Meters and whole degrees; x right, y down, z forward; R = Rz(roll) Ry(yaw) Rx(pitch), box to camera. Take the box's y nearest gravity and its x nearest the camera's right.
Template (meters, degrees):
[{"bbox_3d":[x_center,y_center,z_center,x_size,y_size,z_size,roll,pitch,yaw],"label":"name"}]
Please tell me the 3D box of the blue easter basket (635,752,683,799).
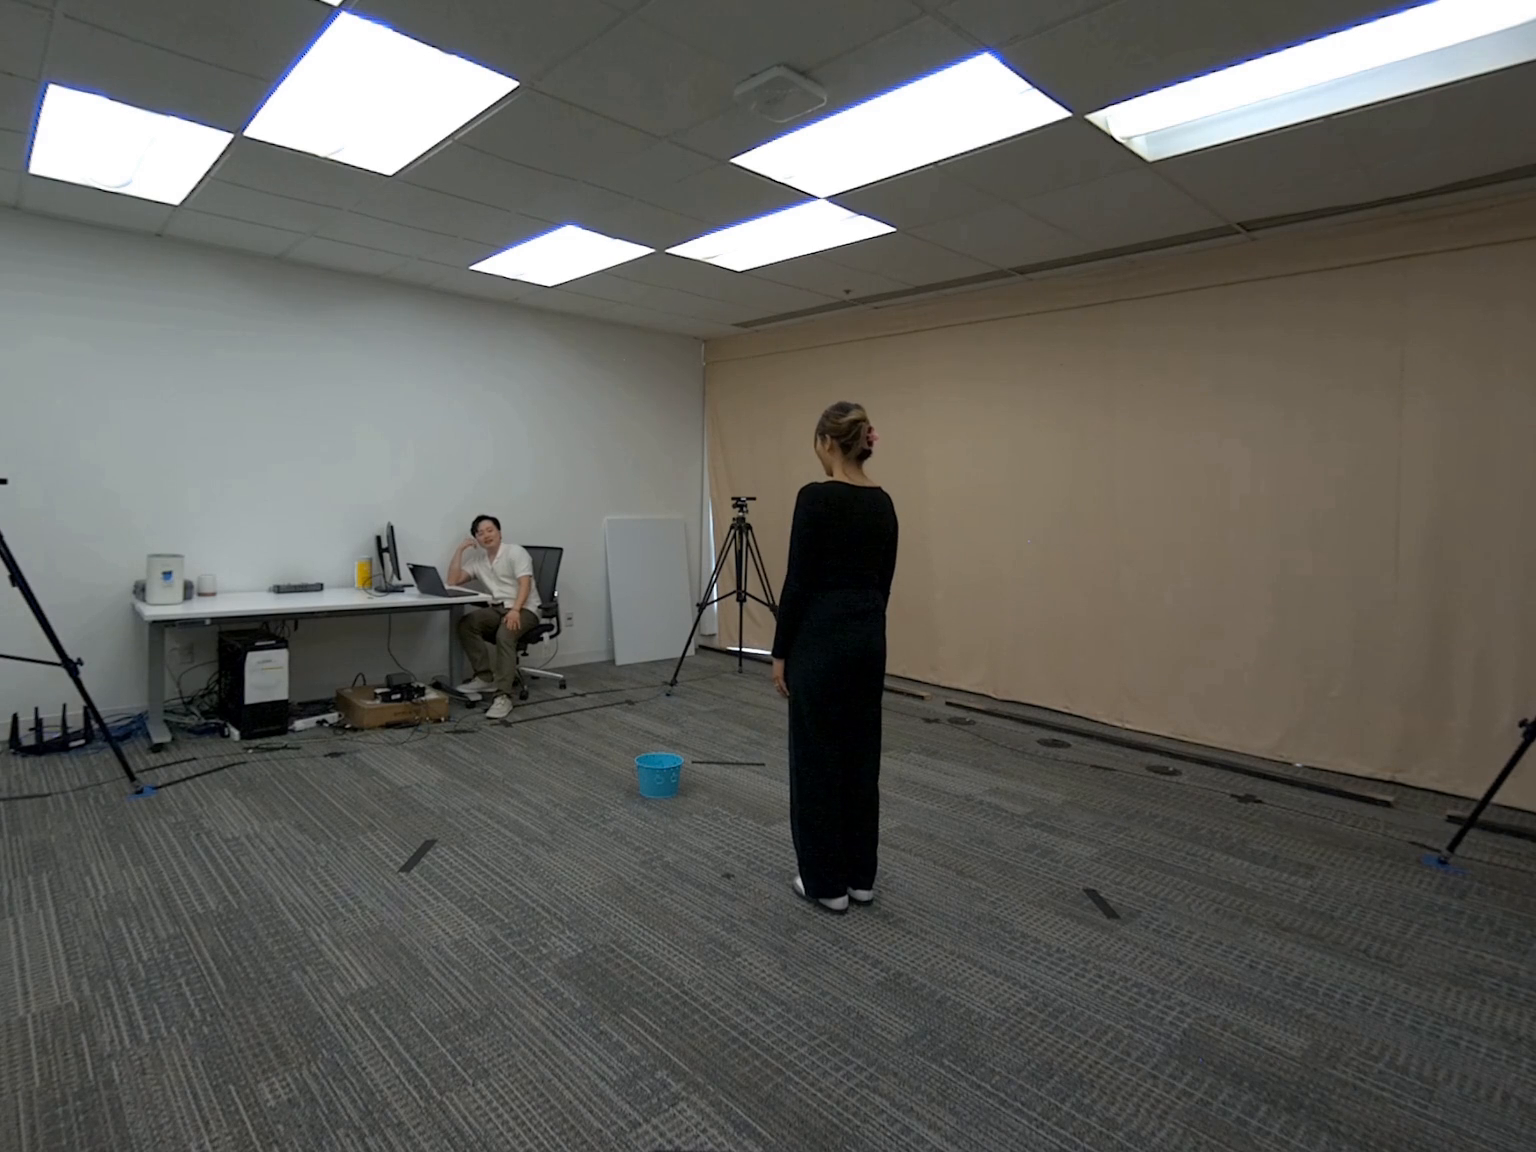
[{"bbox_3d":[-0.523,0.943,3.993,0.243,0.155,0.244,2,5,-2],"label":"blue easter basket"}]
